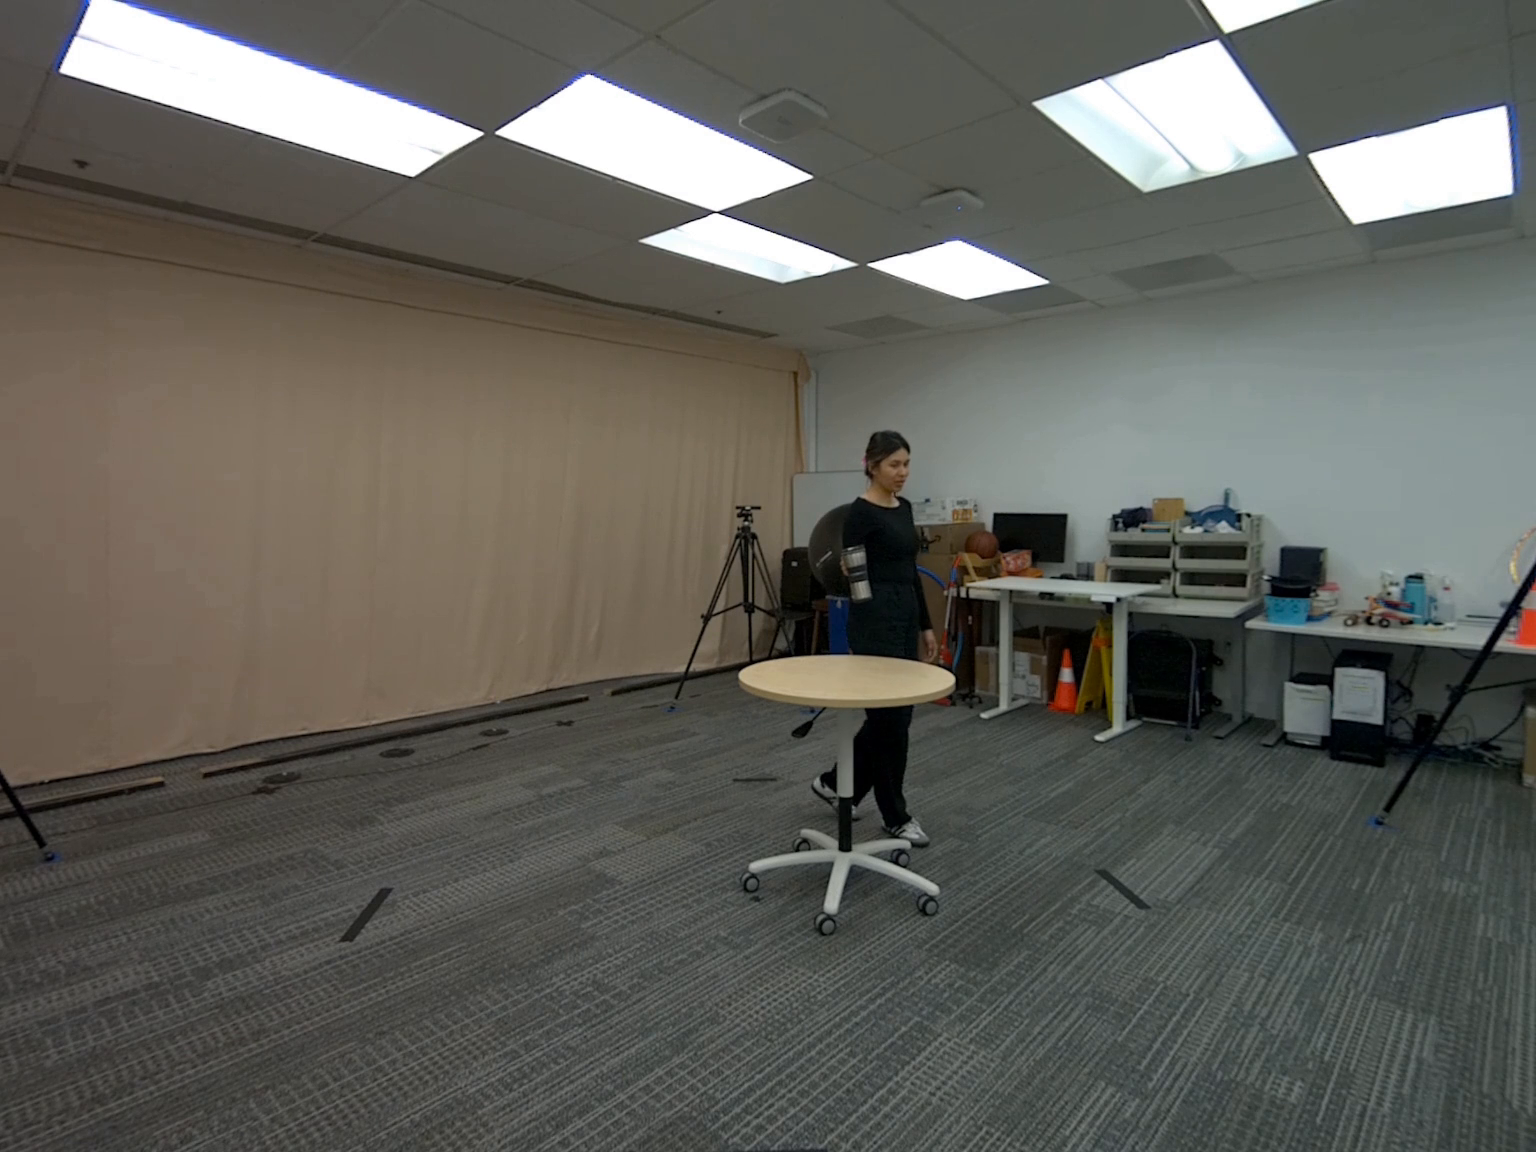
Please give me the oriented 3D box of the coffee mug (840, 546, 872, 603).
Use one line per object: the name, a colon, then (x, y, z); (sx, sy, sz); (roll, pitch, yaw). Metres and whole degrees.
coffee mug: (0.345, -0.009, 3.123); (0.090, 0.203, 0.119); (-14, -1, 33)
